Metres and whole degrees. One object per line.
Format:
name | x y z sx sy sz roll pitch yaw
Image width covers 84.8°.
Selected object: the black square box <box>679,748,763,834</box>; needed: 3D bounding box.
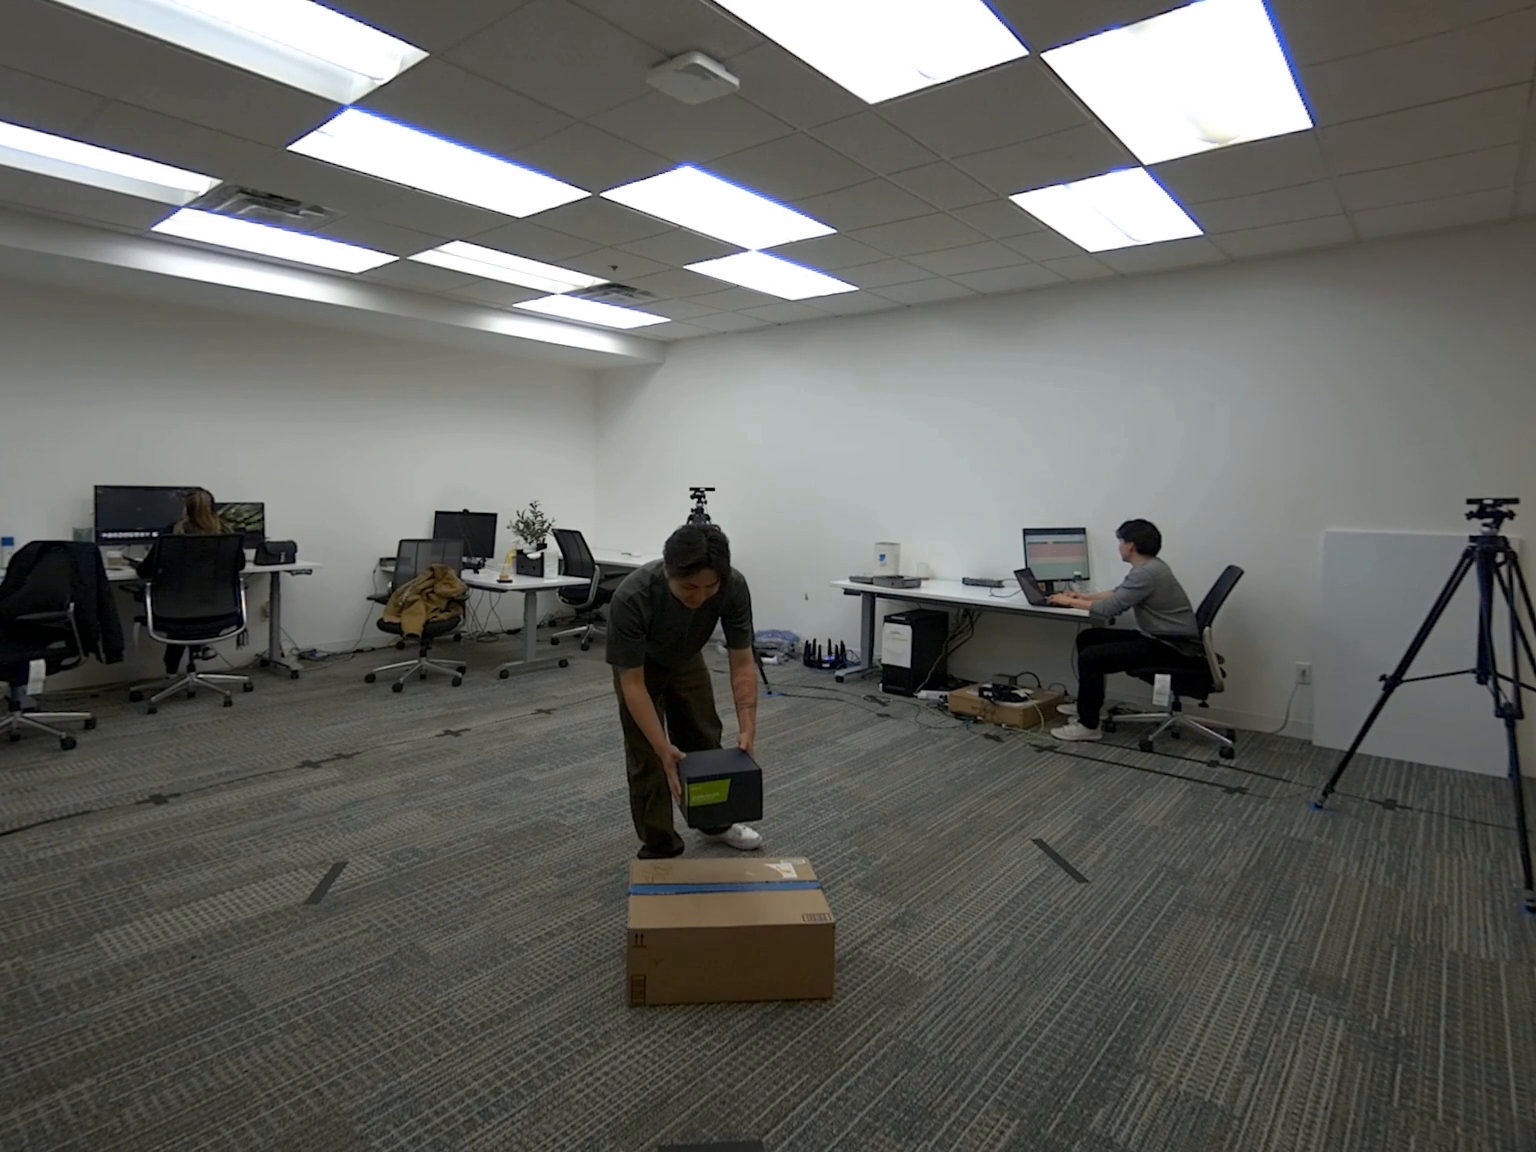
black square box | -0.161 0.636 2.590 0.224 0.155 0.221 -3 7 -15
